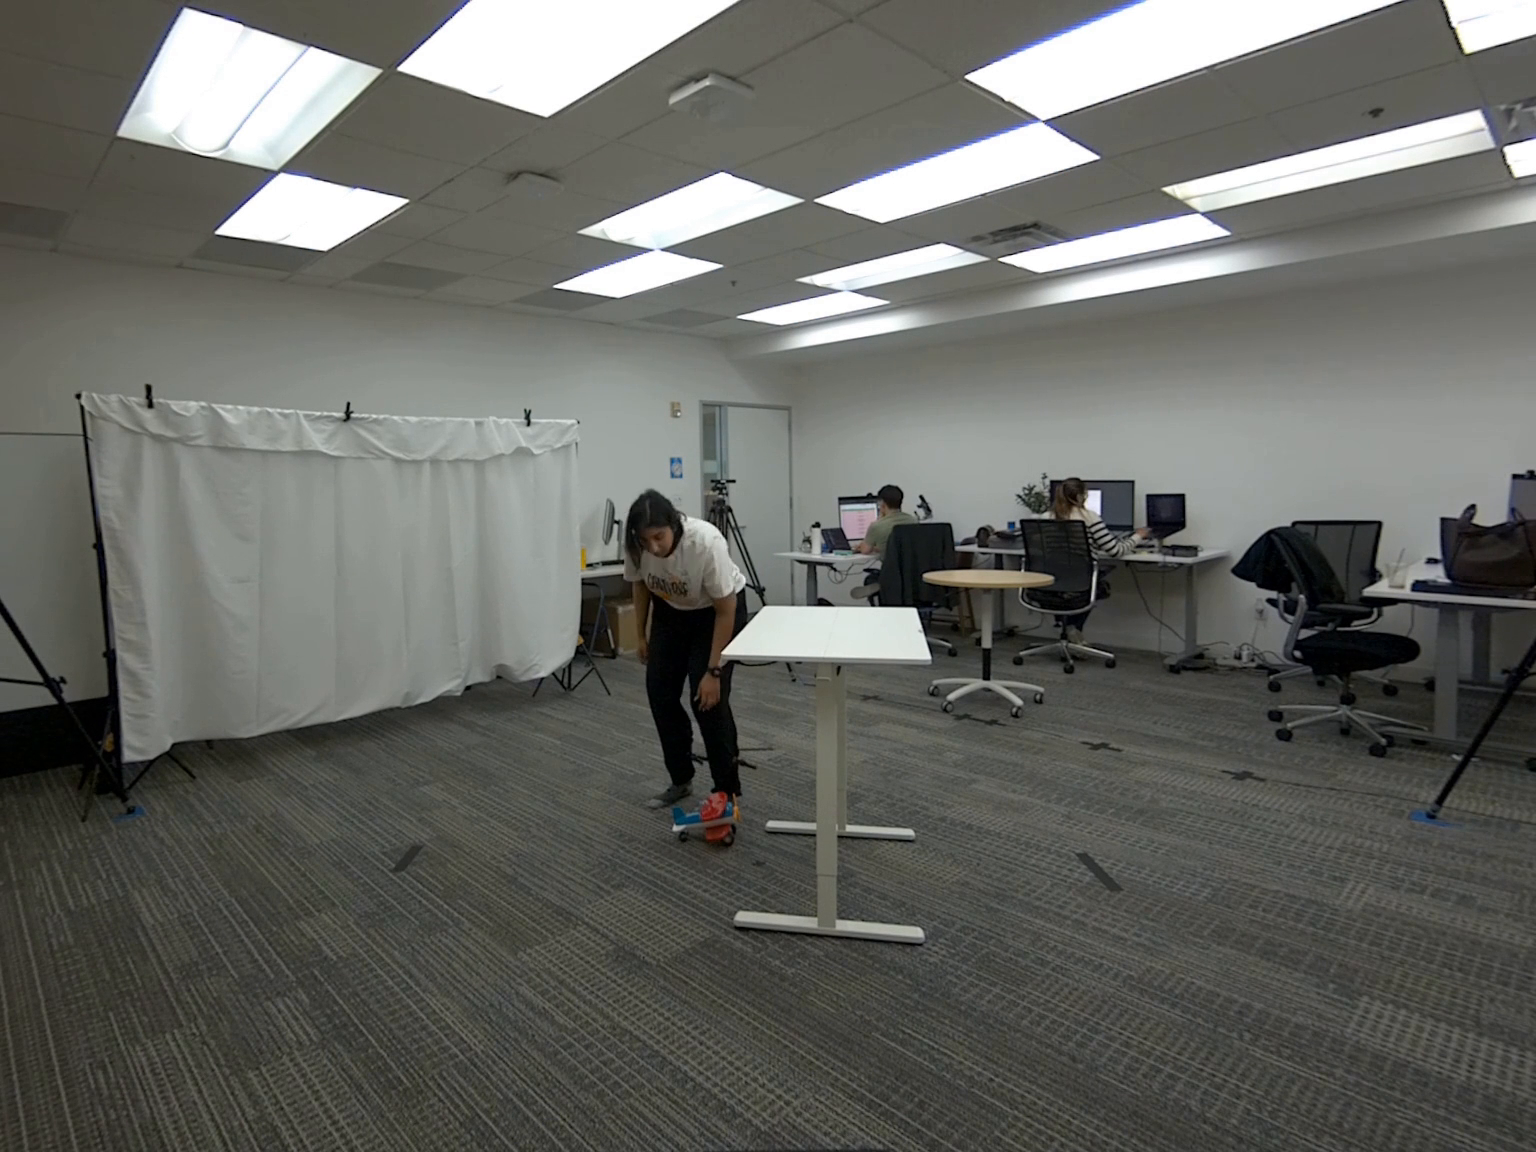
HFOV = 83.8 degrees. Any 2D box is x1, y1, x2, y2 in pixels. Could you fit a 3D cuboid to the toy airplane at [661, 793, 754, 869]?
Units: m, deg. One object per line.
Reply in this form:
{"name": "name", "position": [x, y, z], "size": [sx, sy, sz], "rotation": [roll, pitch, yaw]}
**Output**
{"name": "toy airplane", "position": [-0.237, 0.971, 3.298], "size": [0.253, 0.156, 0.257], "rotation": [-6, 4, -29]}
